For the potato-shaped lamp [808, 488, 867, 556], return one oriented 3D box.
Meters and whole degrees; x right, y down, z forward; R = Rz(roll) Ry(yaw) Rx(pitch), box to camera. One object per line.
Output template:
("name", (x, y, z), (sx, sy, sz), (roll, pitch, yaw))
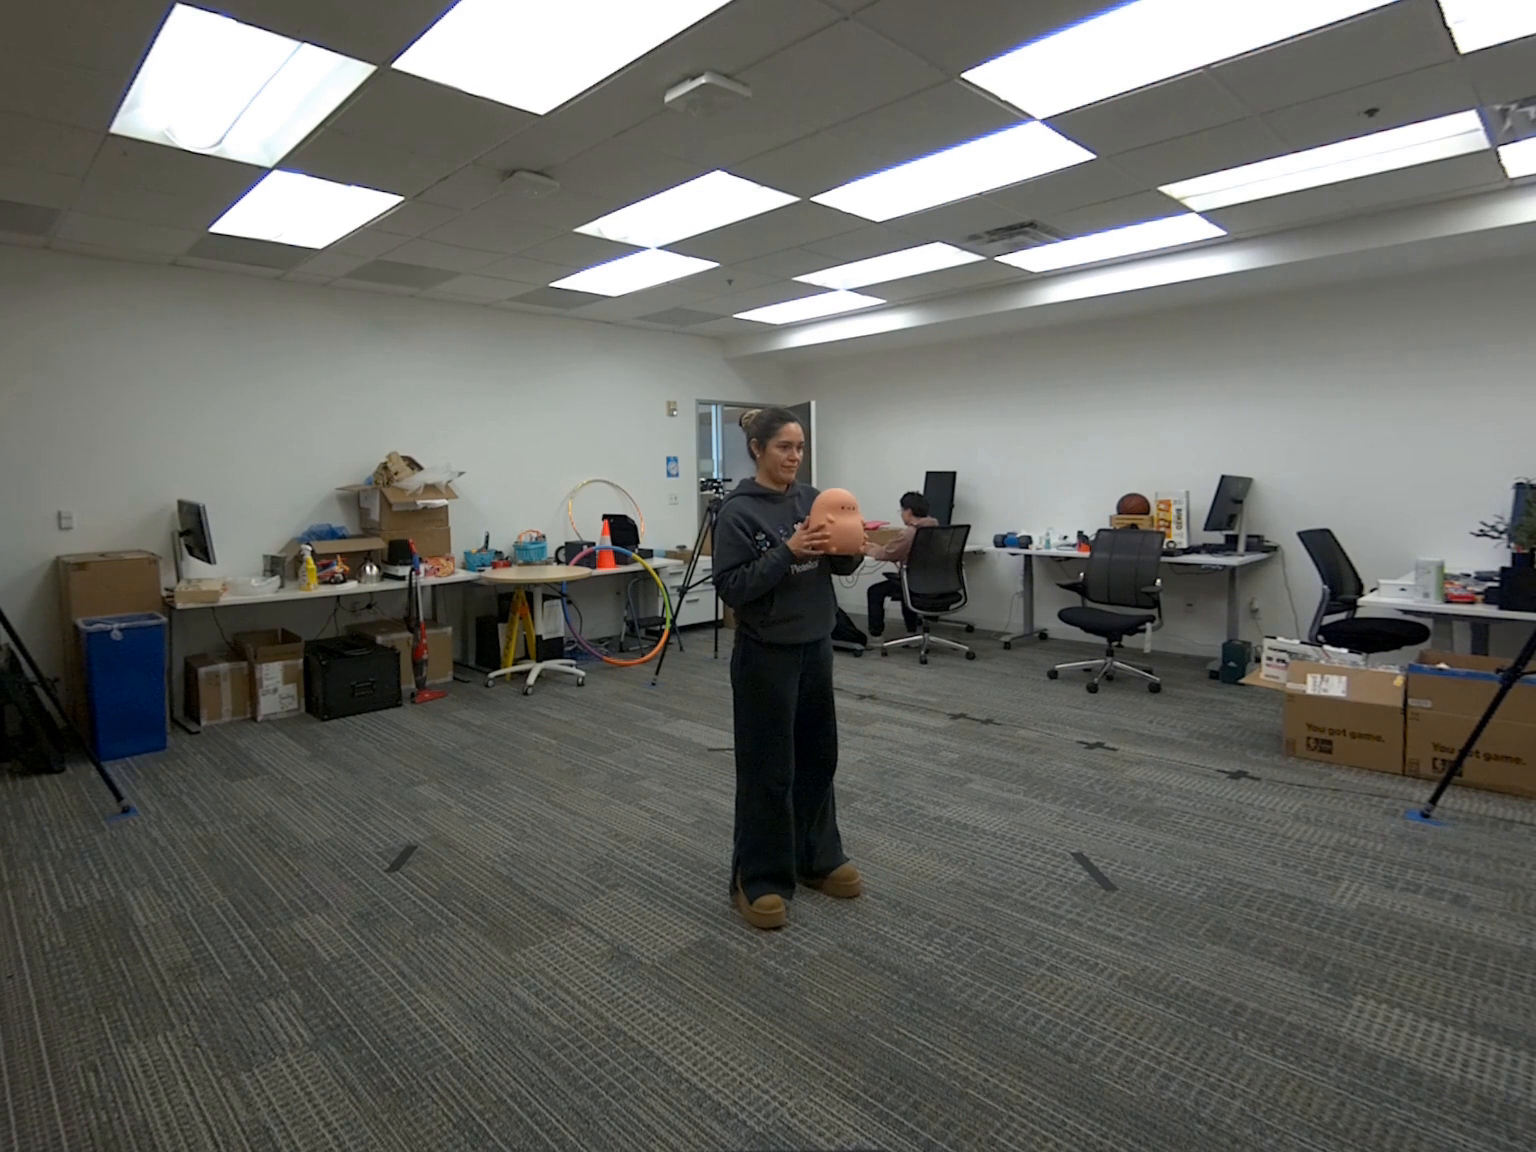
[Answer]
("potato-shaped lamp", (0.203, -0.168, 2.590), (0.161, 0.197, 0.176), (0, 7, -27))
